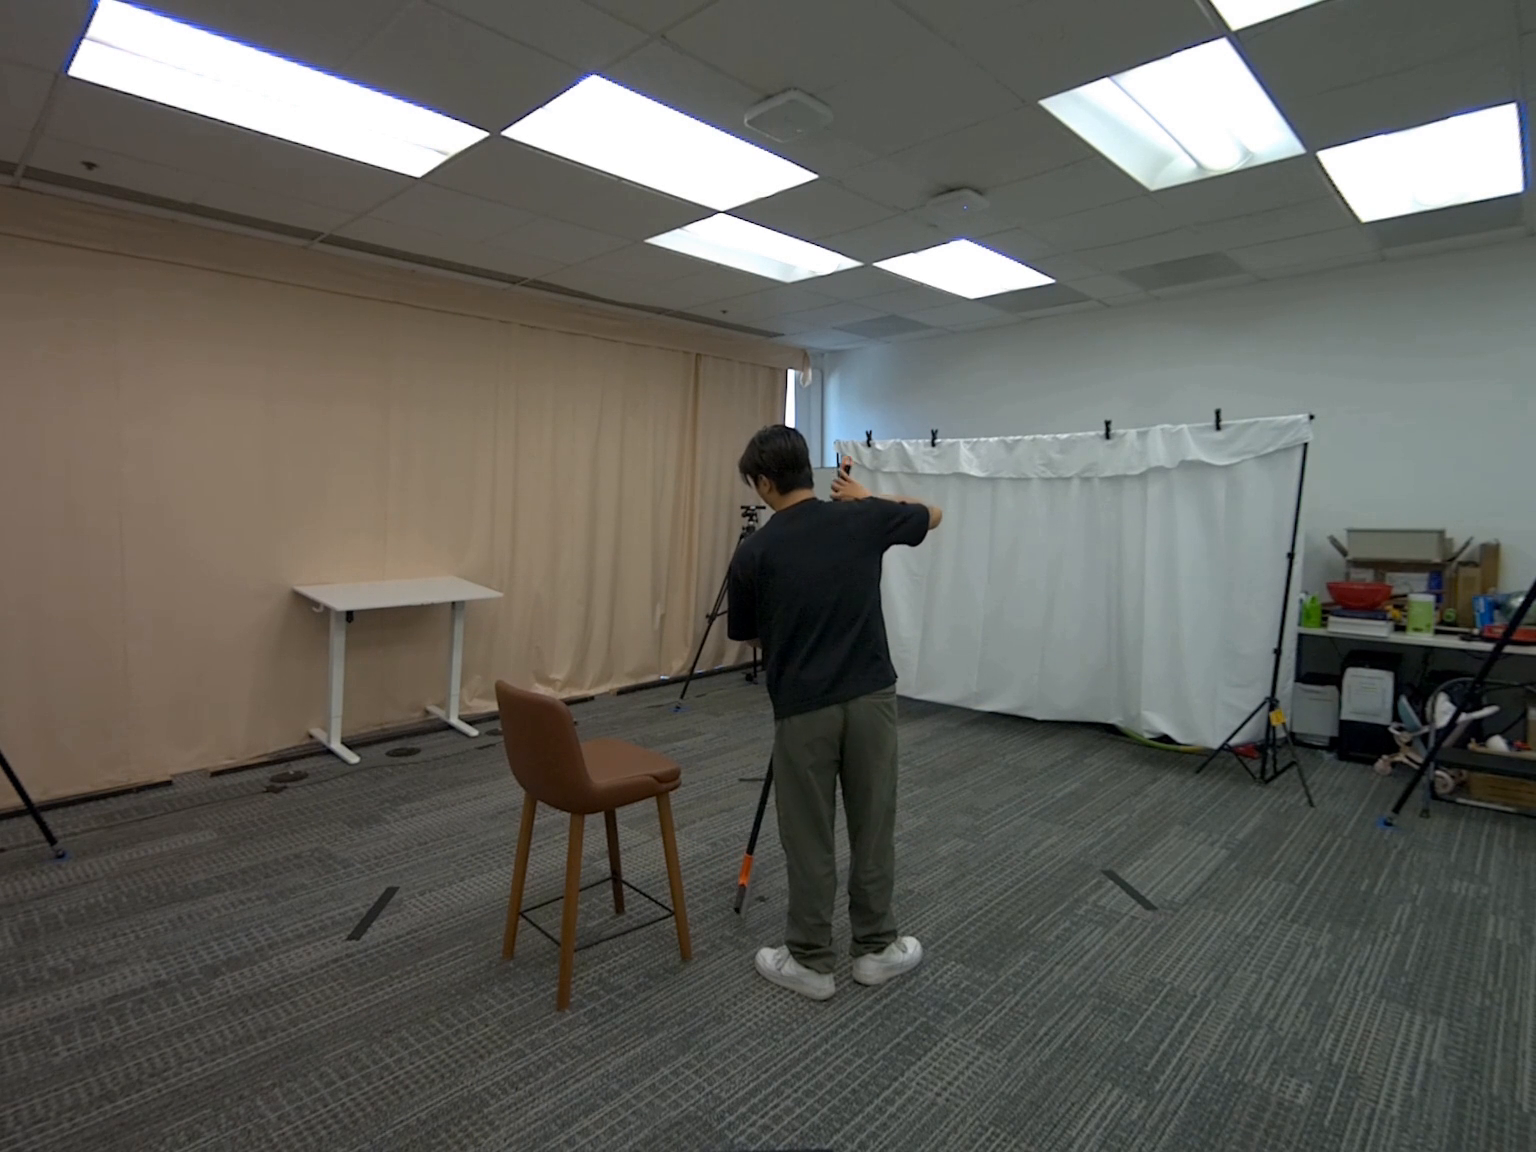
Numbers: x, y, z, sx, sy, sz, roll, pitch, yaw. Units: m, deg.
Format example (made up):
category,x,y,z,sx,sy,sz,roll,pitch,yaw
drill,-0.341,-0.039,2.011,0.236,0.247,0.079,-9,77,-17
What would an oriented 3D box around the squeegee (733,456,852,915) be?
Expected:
category,x,y,z,sx,sy,sz,roll,pitch,yaw
squeegee,0.085,0.364,2.867,0.053,1.534,0.434,14,6,6
